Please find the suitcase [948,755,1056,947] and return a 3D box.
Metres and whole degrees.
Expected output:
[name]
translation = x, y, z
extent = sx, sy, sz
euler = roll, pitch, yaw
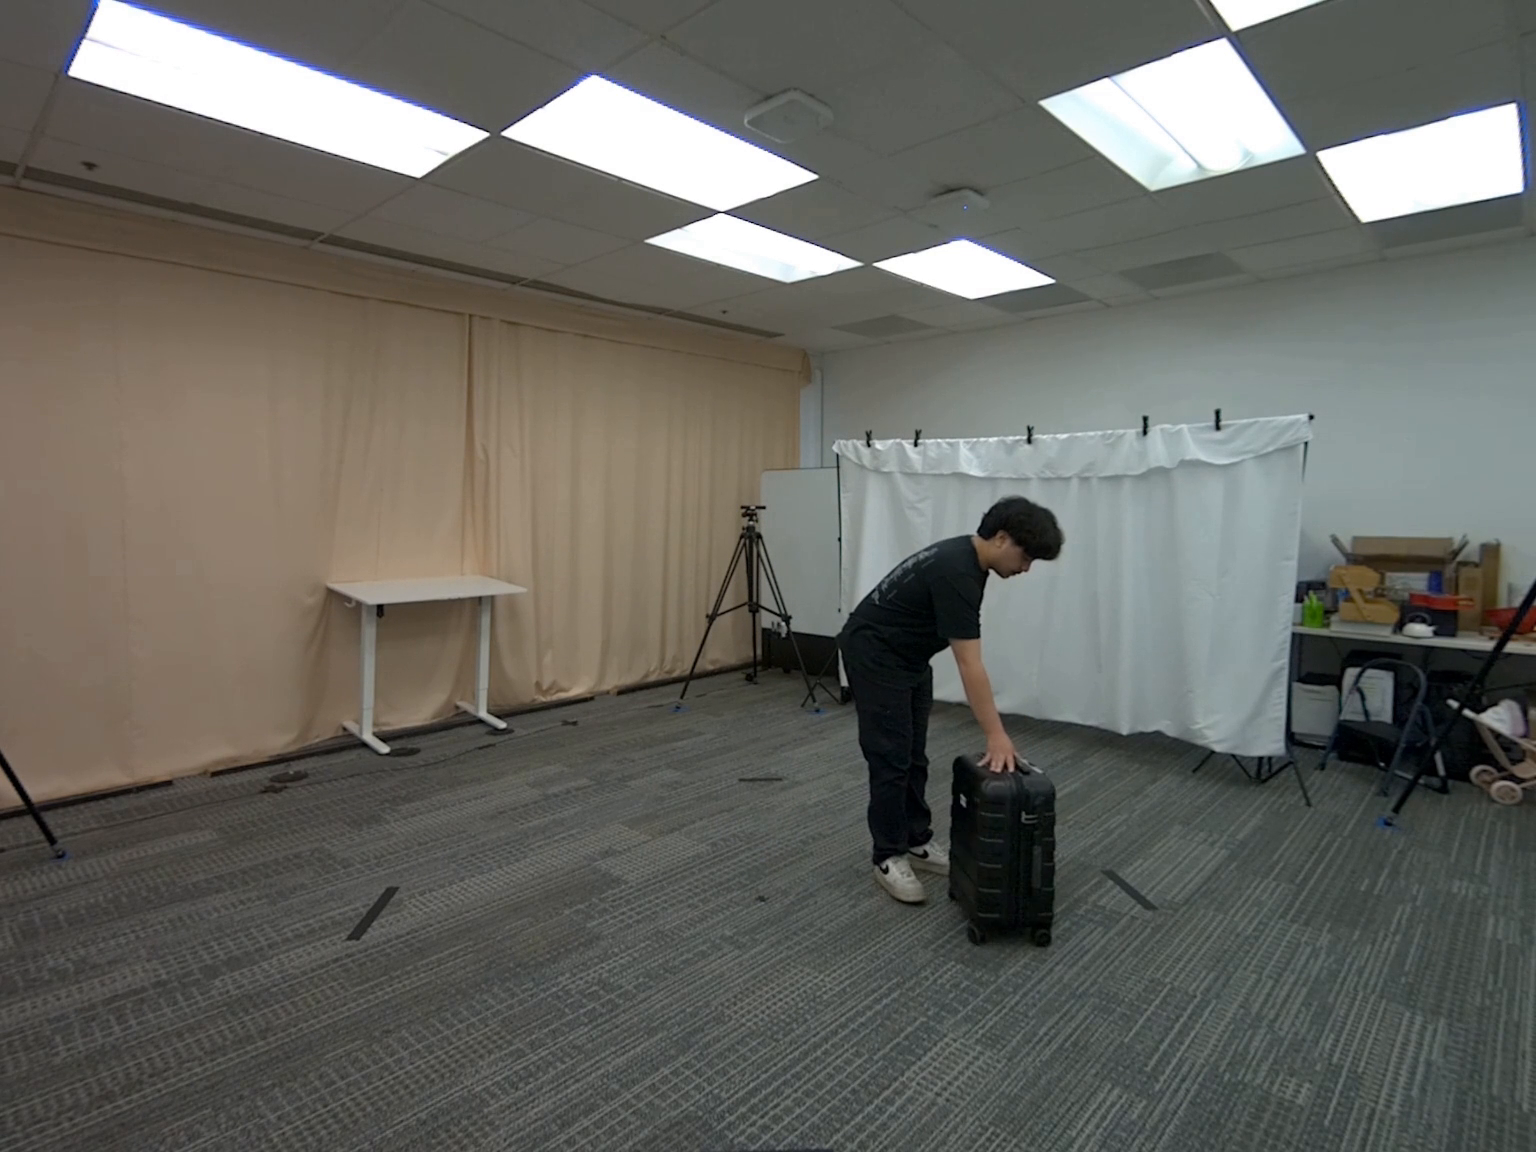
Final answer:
[suitcase]
translation = 0.783, 0.884, 2.792
extent = 0.247, 0.548, 0.378
euler = -1, 4, -4
